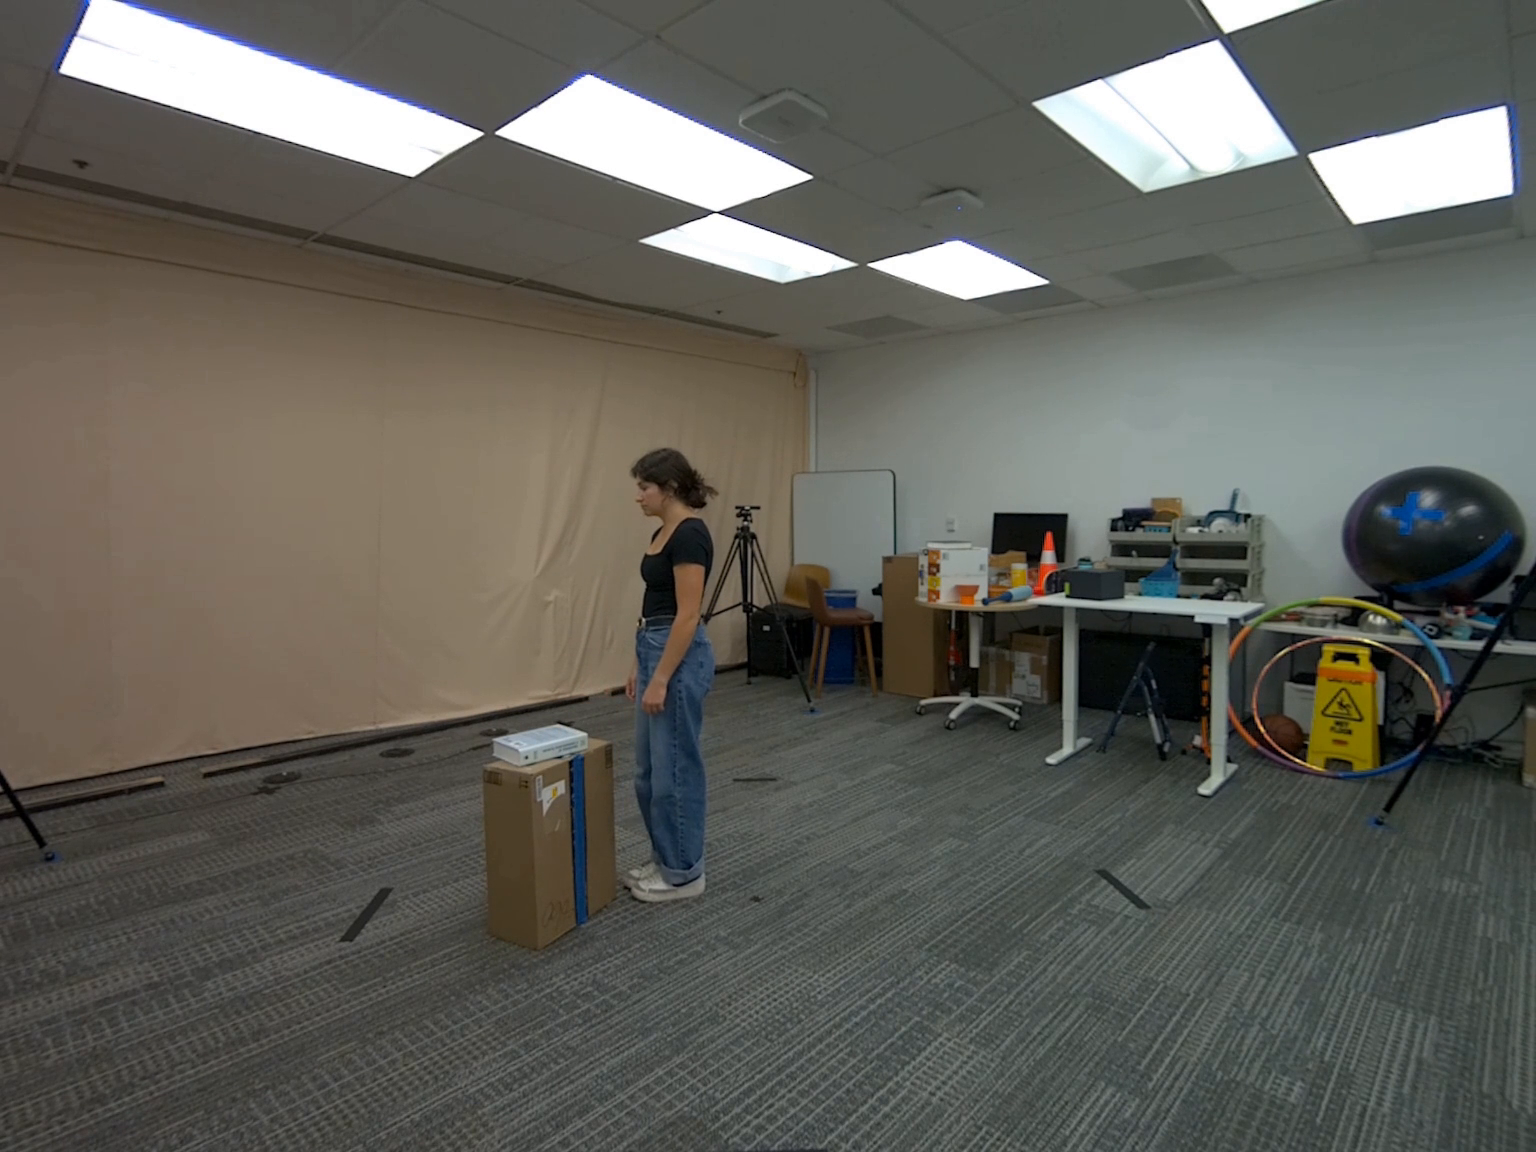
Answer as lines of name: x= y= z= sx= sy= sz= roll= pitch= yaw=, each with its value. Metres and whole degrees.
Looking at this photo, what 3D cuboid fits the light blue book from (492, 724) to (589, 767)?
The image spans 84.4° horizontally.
light blue book: x=-0.767 y=0.569 z=2.855 sx=0.197 sy=0.059 sz=0.253 roll=2 pitch=6 yaw=44
